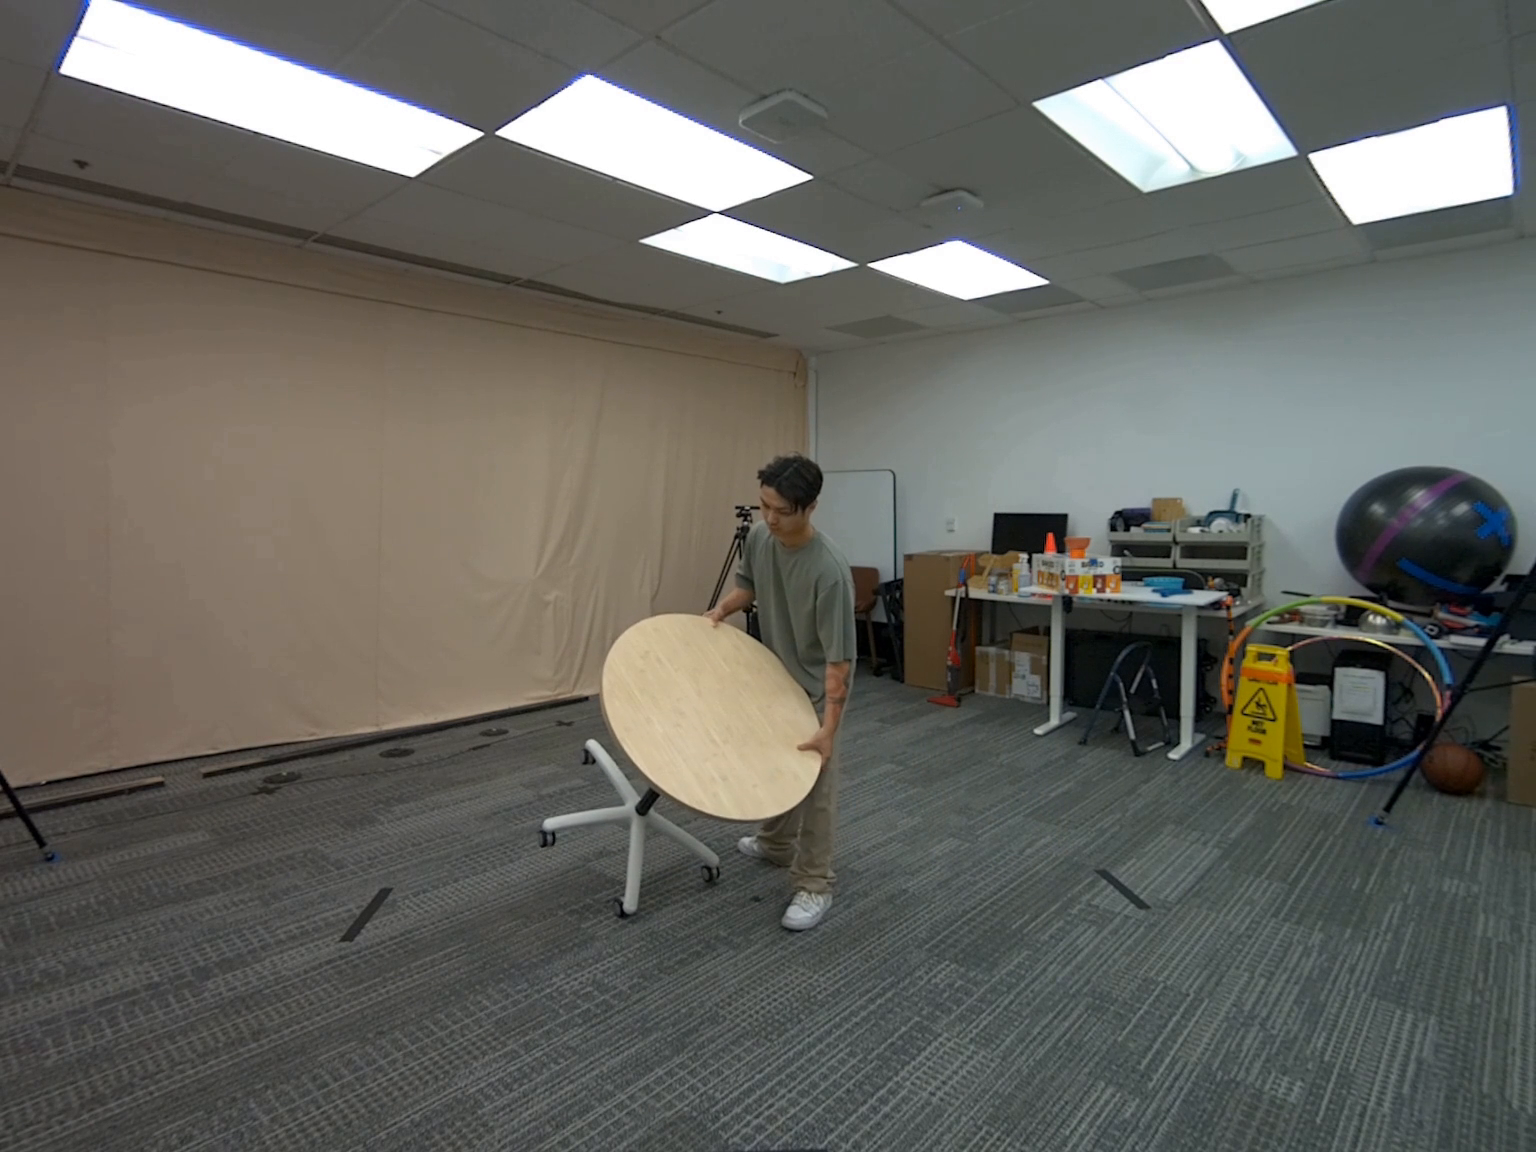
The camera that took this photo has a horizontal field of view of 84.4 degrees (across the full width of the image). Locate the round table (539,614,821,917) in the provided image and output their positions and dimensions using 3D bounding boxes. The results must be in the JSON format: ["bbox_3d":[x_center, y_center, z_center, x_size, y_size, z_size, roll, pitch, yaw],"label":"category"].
[{"bbox_3d":[-0.346,0.687,2.888,0.769,0.787,0.800,19,38,-18],"label":"round table"}]
